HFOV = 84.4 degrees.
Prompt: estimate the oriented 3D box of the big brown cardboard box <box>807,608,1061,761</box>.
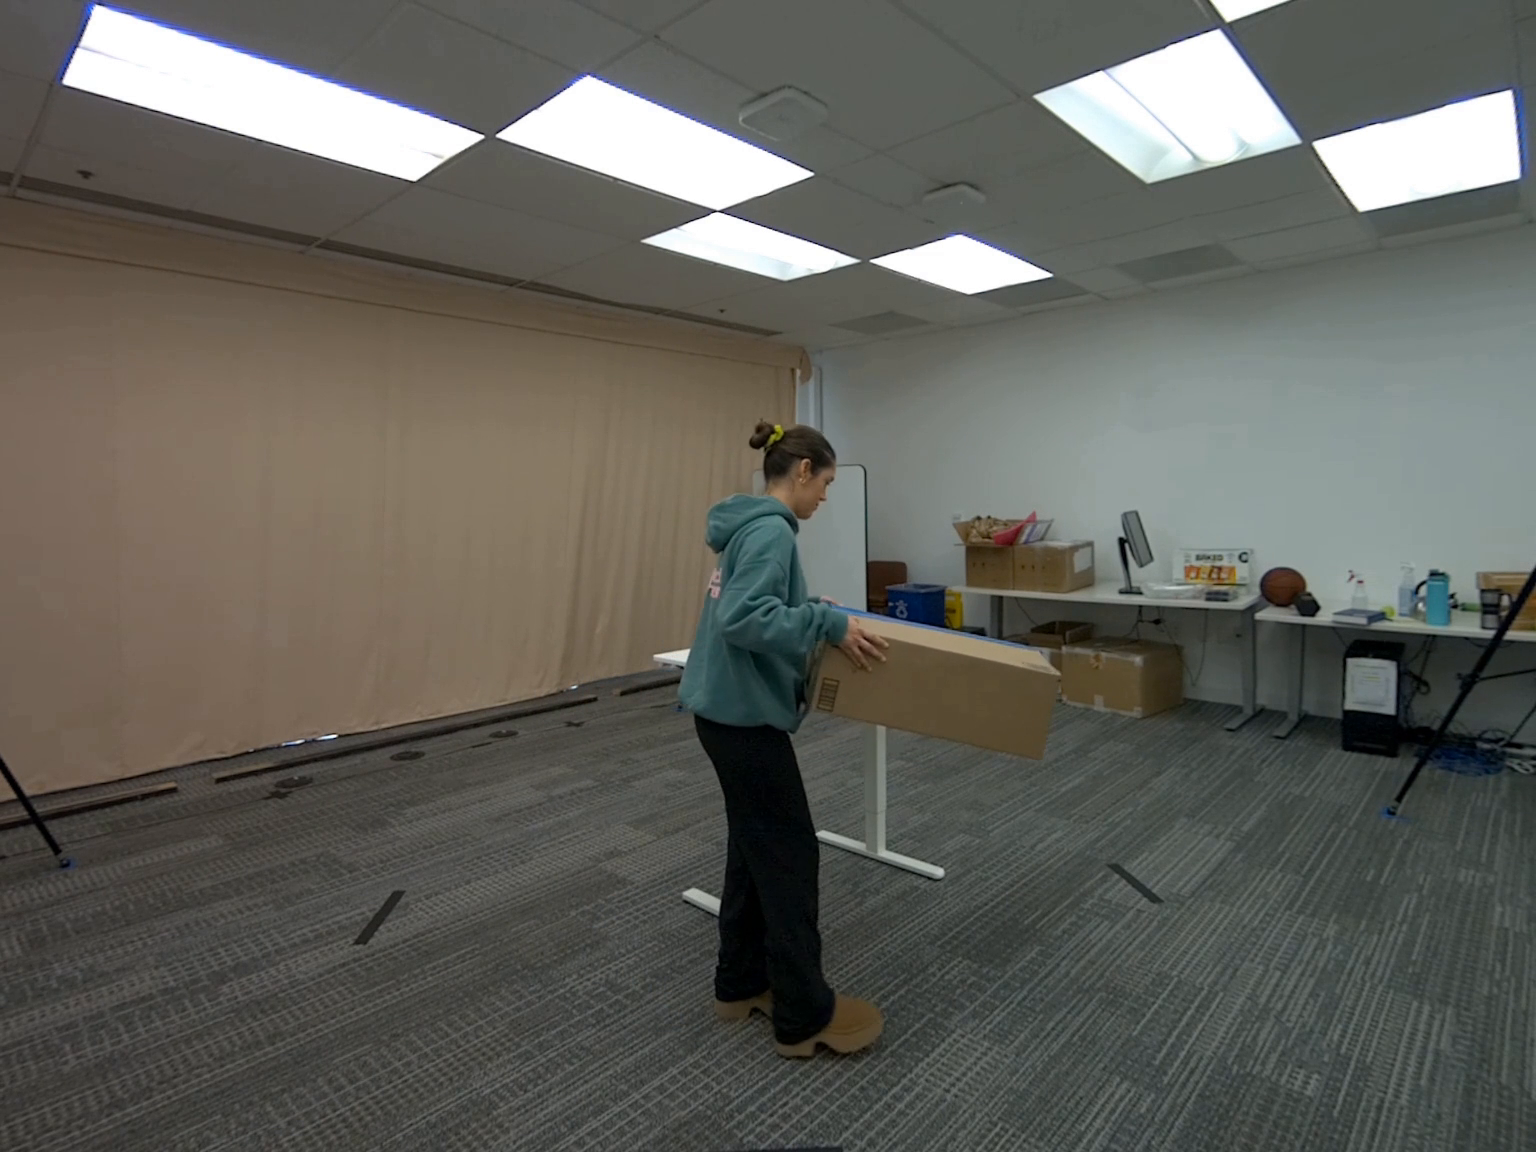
[{"bbox_3d":[0.414,0.264,2.202,0.589,0.232,0.419,10,5,-1],"label":"big brown cardboard box"}]
